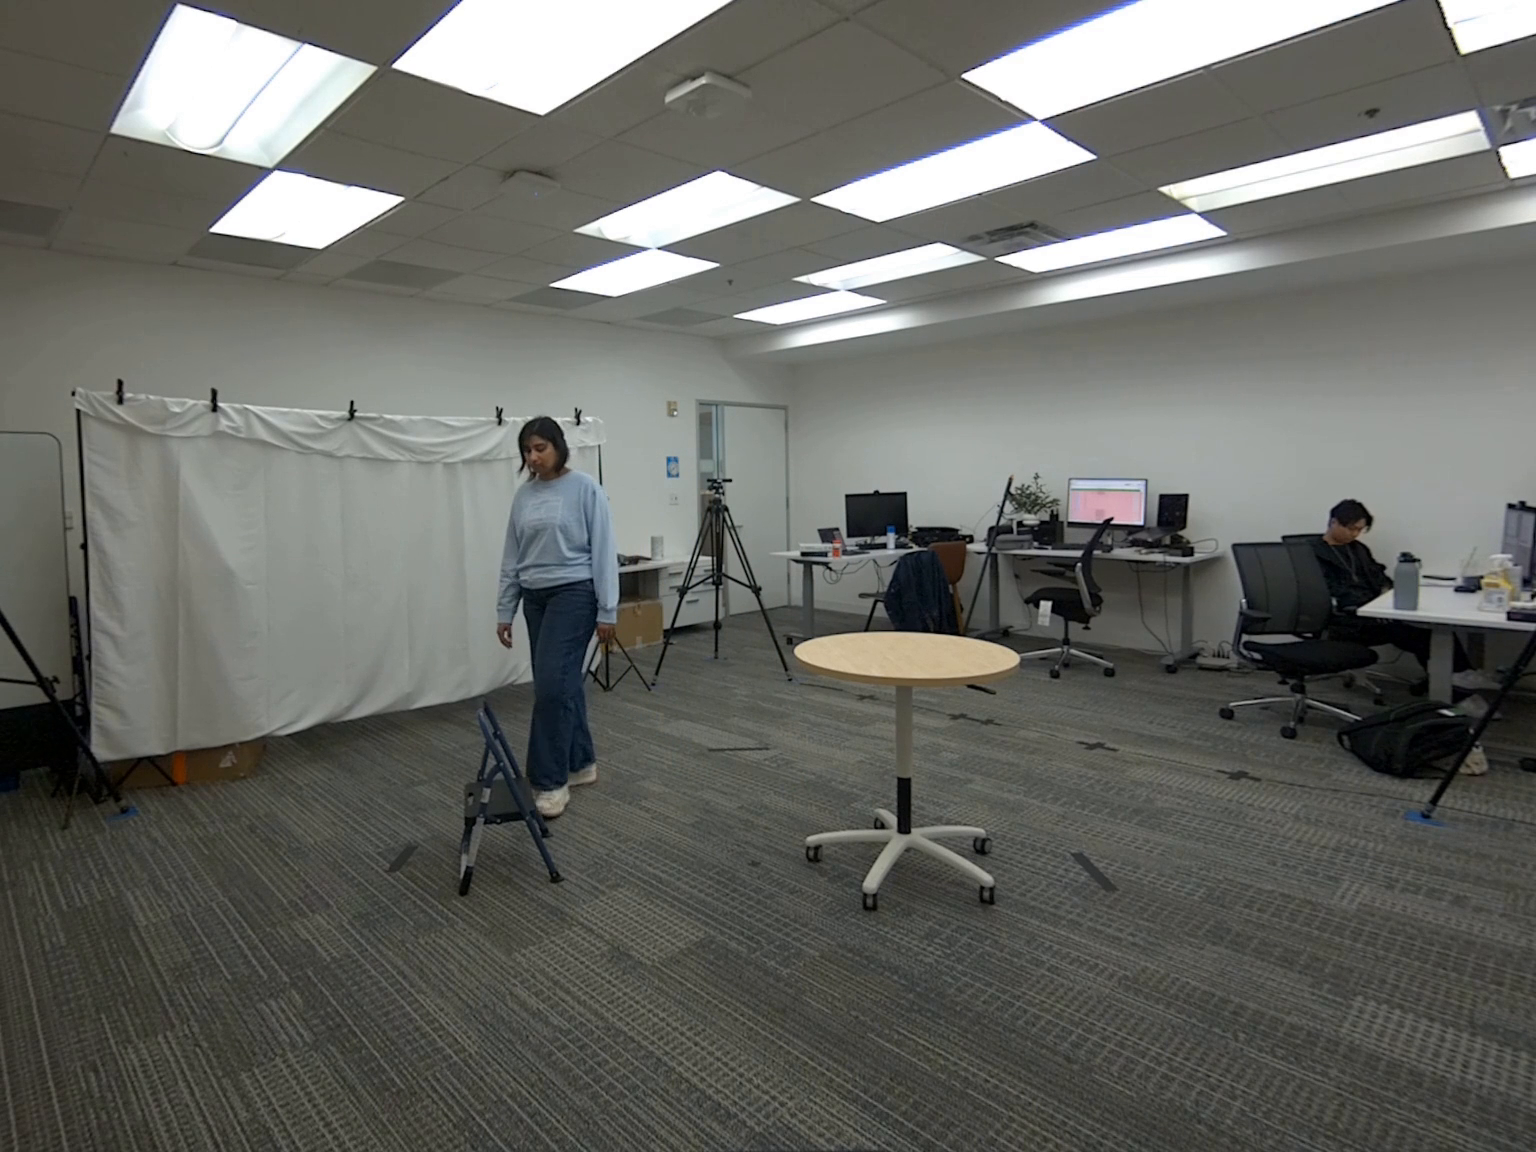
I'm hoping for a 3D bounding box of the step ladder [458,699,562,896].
[{"bbox_3d":[-0.956,0.761,3.136,0.343,0.604,0.439,-3,3,-19],"label":"step ladder"}]
